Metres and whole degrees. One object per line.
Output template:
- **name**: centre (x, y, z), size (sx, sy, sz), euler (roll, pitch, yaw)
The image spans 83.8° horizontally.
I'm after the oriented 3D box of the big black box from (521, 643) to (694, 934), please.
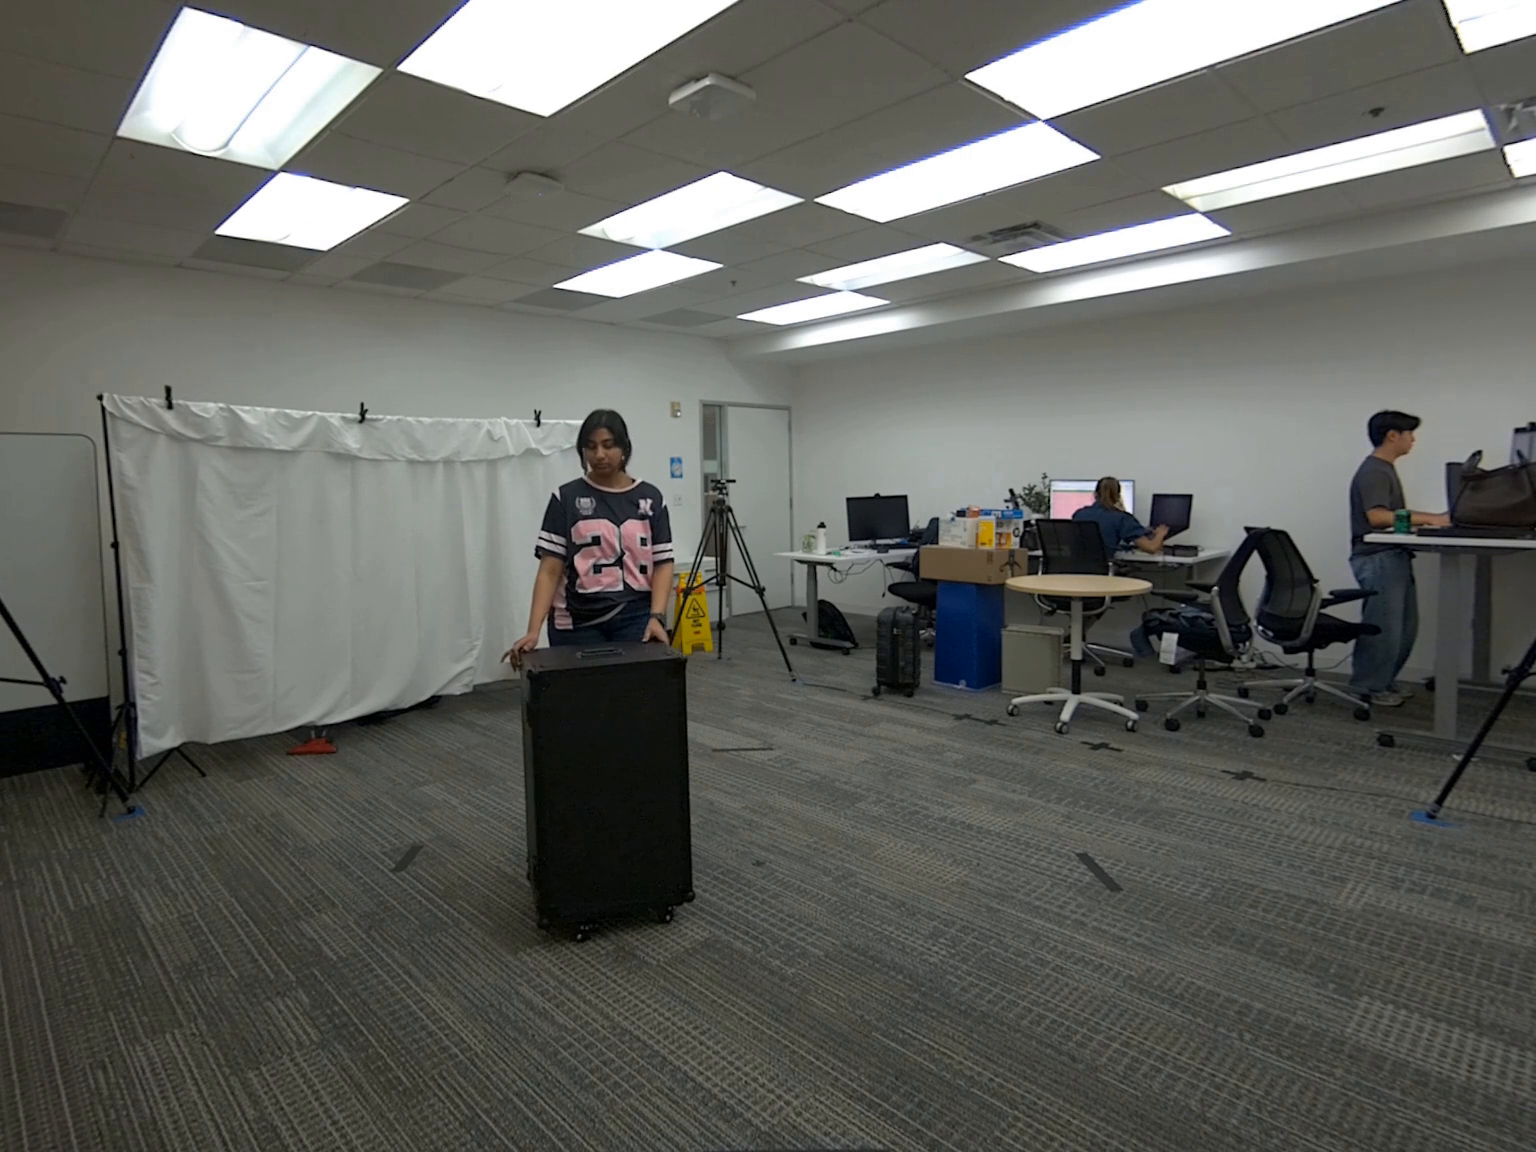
- **big black box**: centre (-0.536, 0.677, 2.765), size (0.514, 0.865, 0.394), euler (-3, 4, -21)
